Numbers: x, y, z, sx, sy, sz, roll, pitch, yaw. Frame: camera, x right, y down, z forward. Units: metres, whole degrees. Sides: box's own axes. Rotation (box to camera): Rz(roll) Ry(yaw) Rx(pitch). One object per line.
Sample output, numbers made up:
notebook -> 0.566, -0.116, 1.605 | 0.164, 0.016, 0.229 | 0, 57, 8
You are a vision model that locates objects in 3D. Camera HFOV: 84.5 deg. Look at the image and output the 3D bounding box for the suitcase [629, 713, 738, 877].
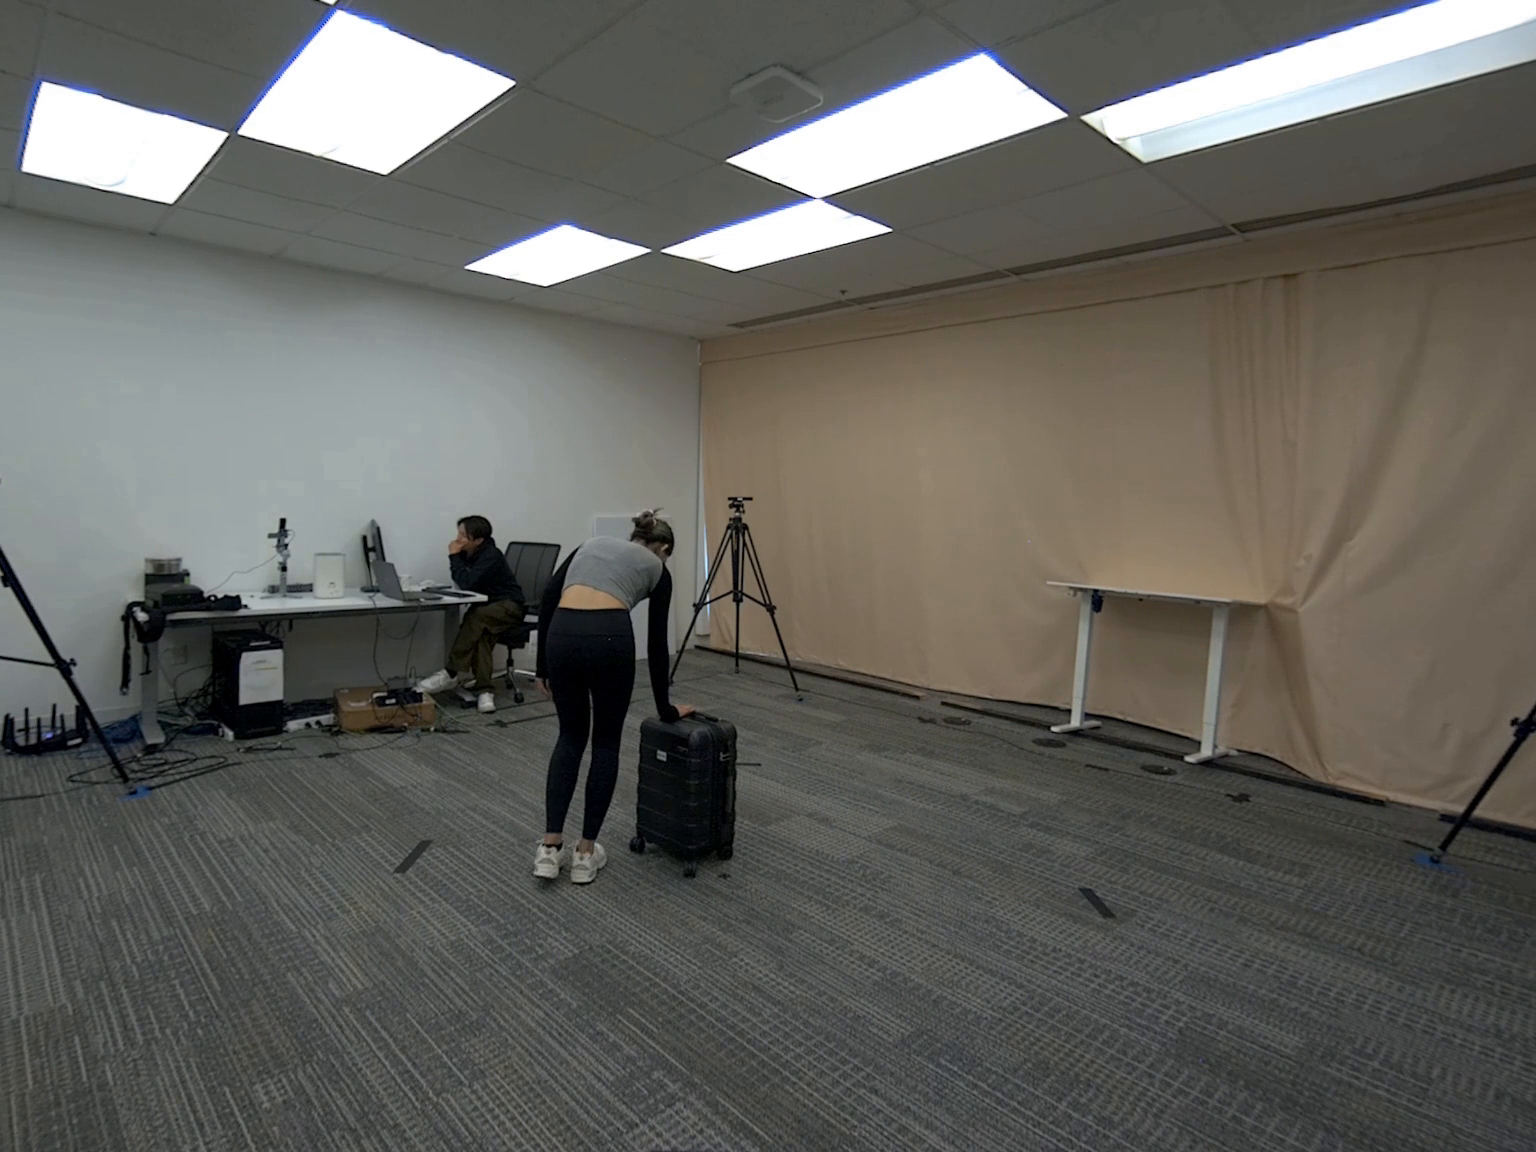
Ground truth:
suitcase -> -0.326, 0.810, 3.277 | 0.385, 0.548, 0.242 | 5, 3, 42
